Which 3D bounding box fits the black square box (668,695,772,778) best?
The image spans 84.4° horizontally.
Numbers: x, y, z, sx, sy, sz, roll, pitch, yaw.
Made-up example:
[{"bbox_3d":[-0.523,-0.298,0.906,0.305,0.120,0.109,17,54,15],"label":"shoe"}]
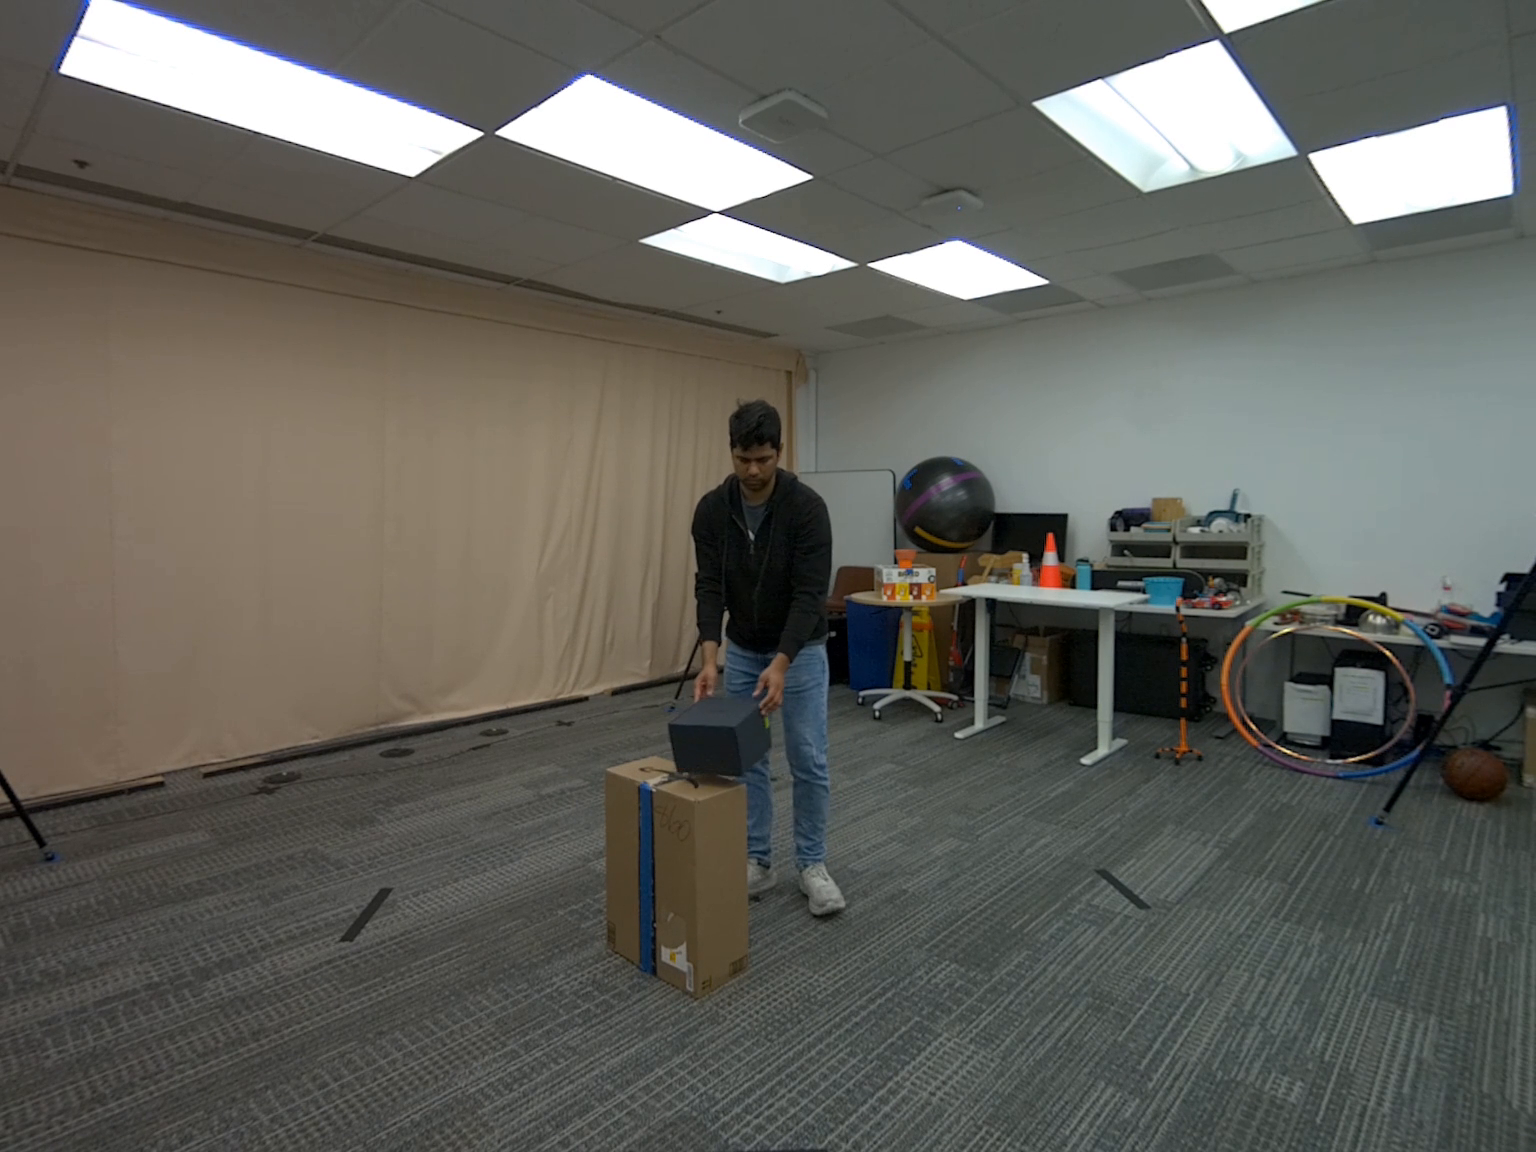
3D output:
[{"bbox_3d":[-0.132,0.487,2.549,0.234,0.155,0.213,-3,12,27],"label":"black square box"}]
